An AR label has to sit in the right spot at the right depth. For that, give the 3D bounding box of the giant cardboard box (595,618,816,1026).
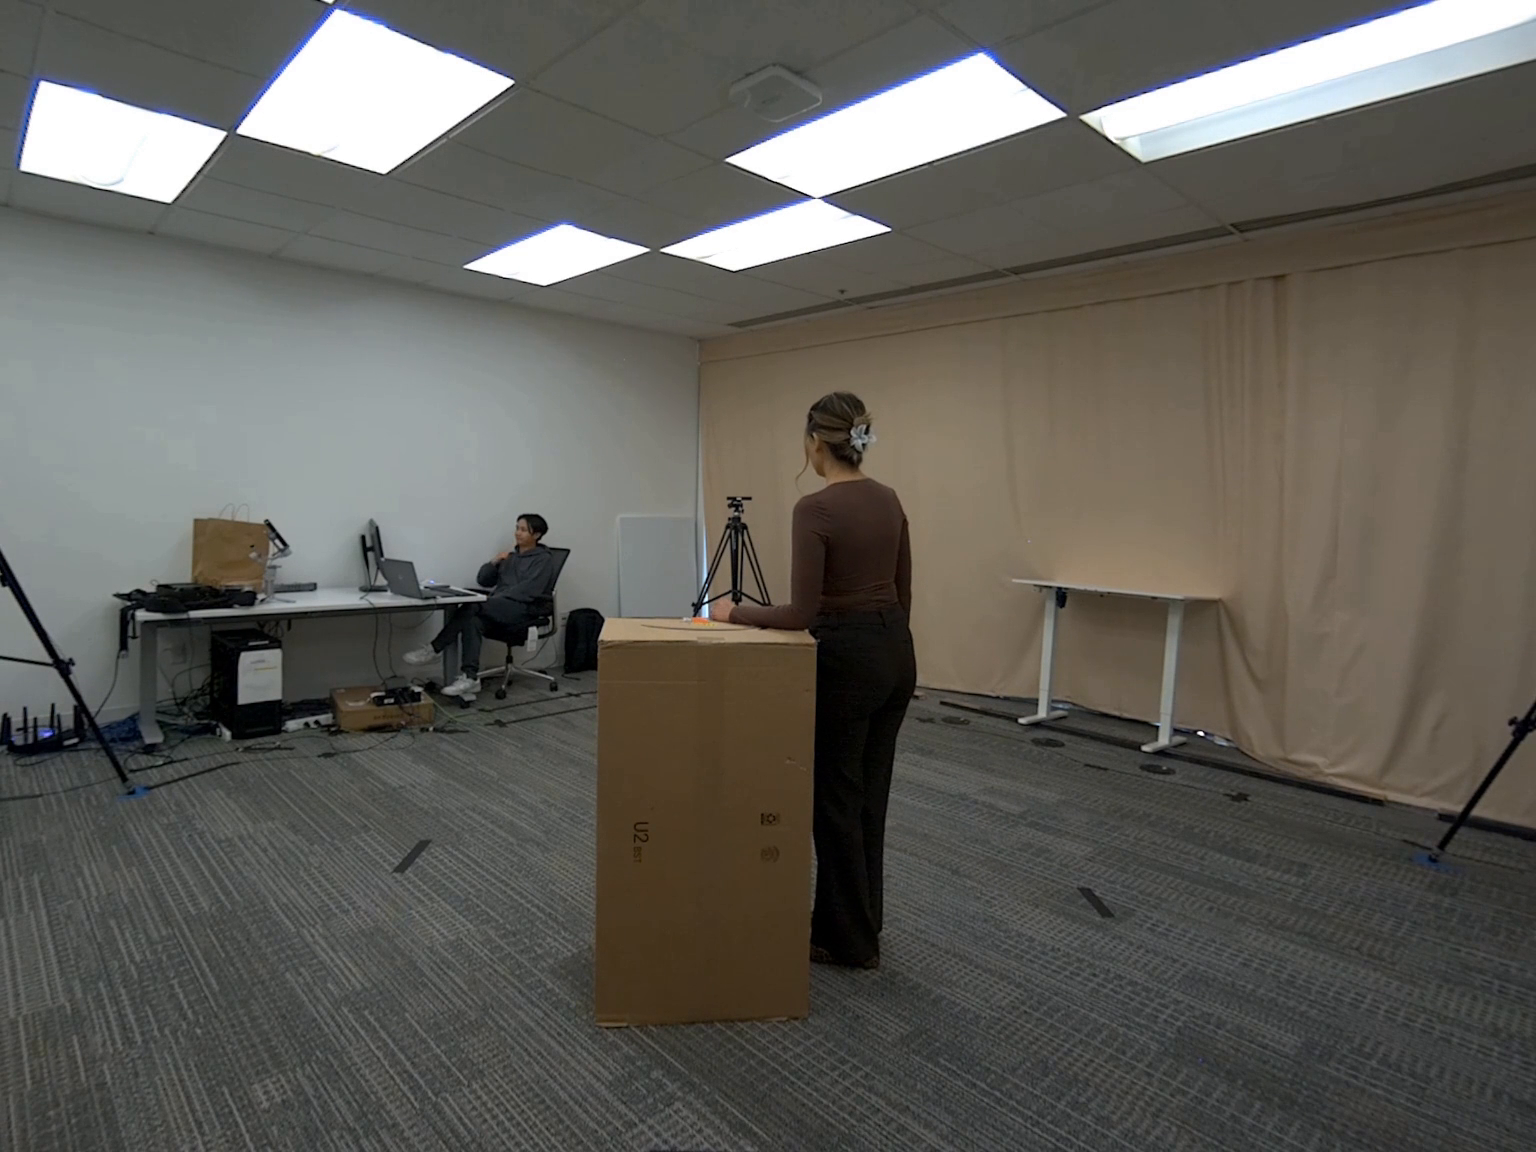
[{"bbox_3d":[-0.200,0.659,2.413,0.581,1.024,0.450,1,3,-7],"label":"giant cardboard box"}]
